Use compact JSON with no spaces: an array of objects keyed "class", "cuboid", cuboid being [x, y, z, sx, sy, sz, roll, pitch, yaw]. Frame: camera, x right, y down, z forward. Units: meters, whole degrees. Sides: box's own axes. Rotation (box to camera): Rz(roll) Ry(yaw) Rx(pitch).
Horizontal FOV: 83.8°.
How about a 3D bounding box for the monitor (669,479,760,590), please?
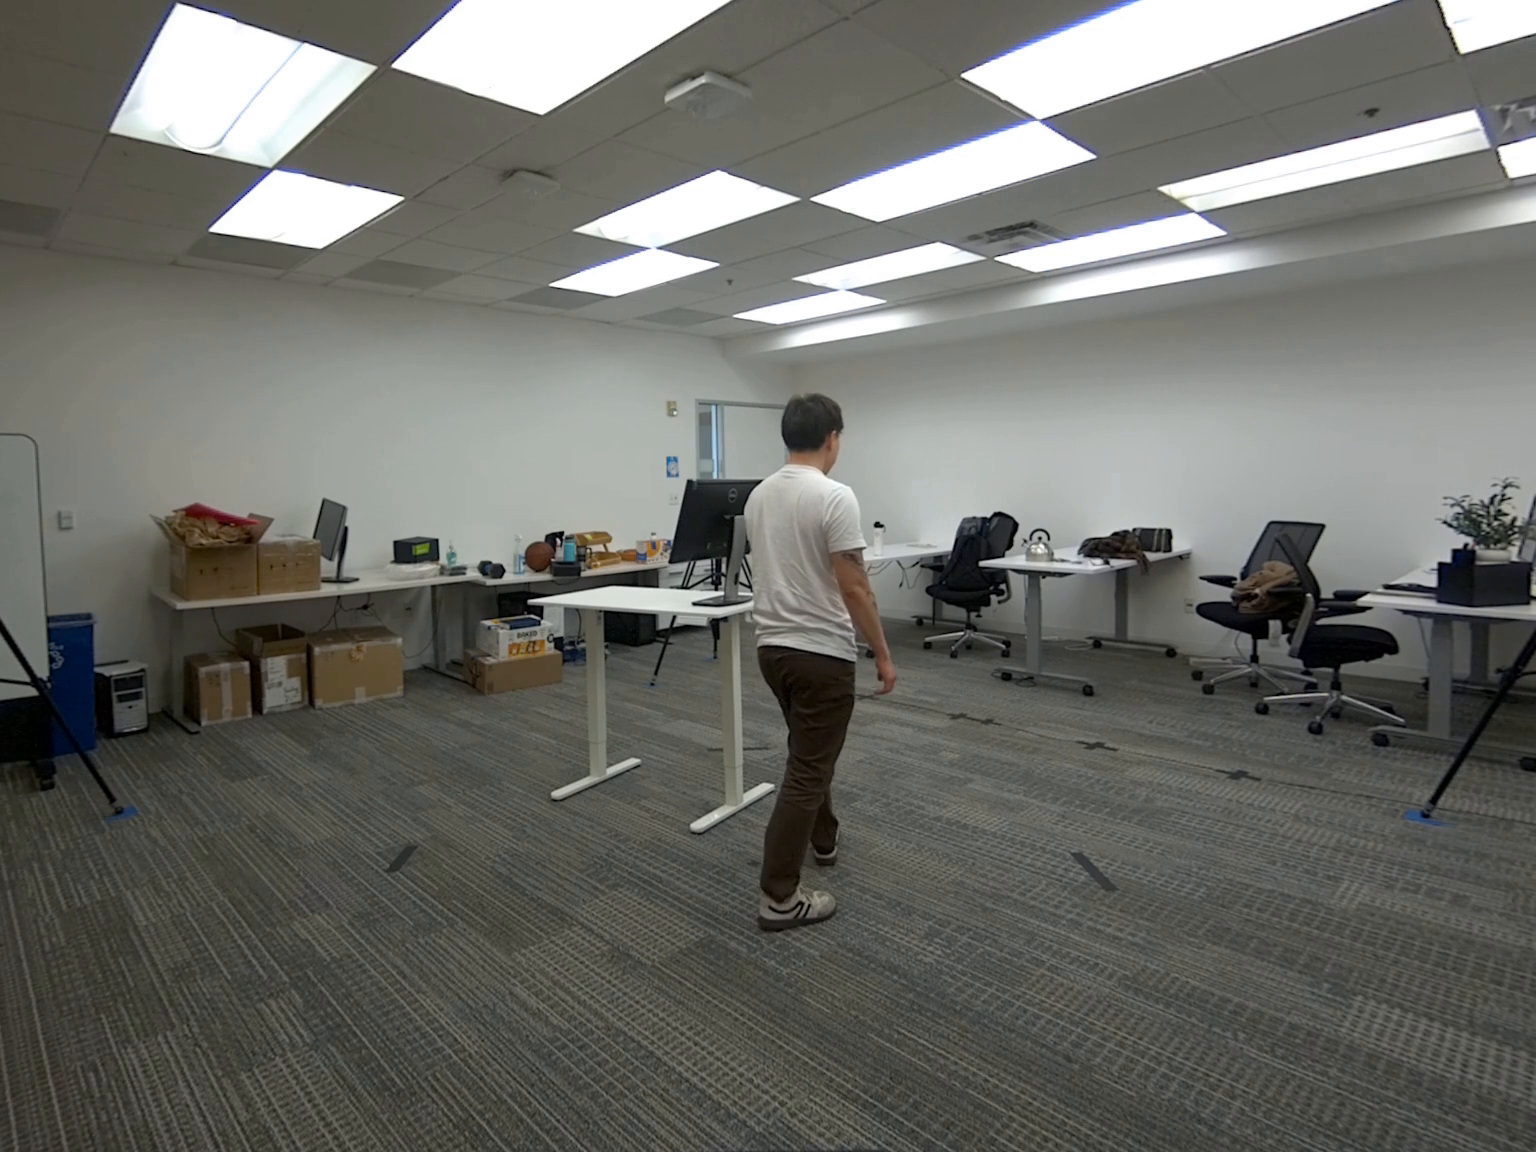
[{"class":"monitor","cuboid":[-0.175,-0.144,3.554,0.192,0.520,0.526,5,7,33]}]
